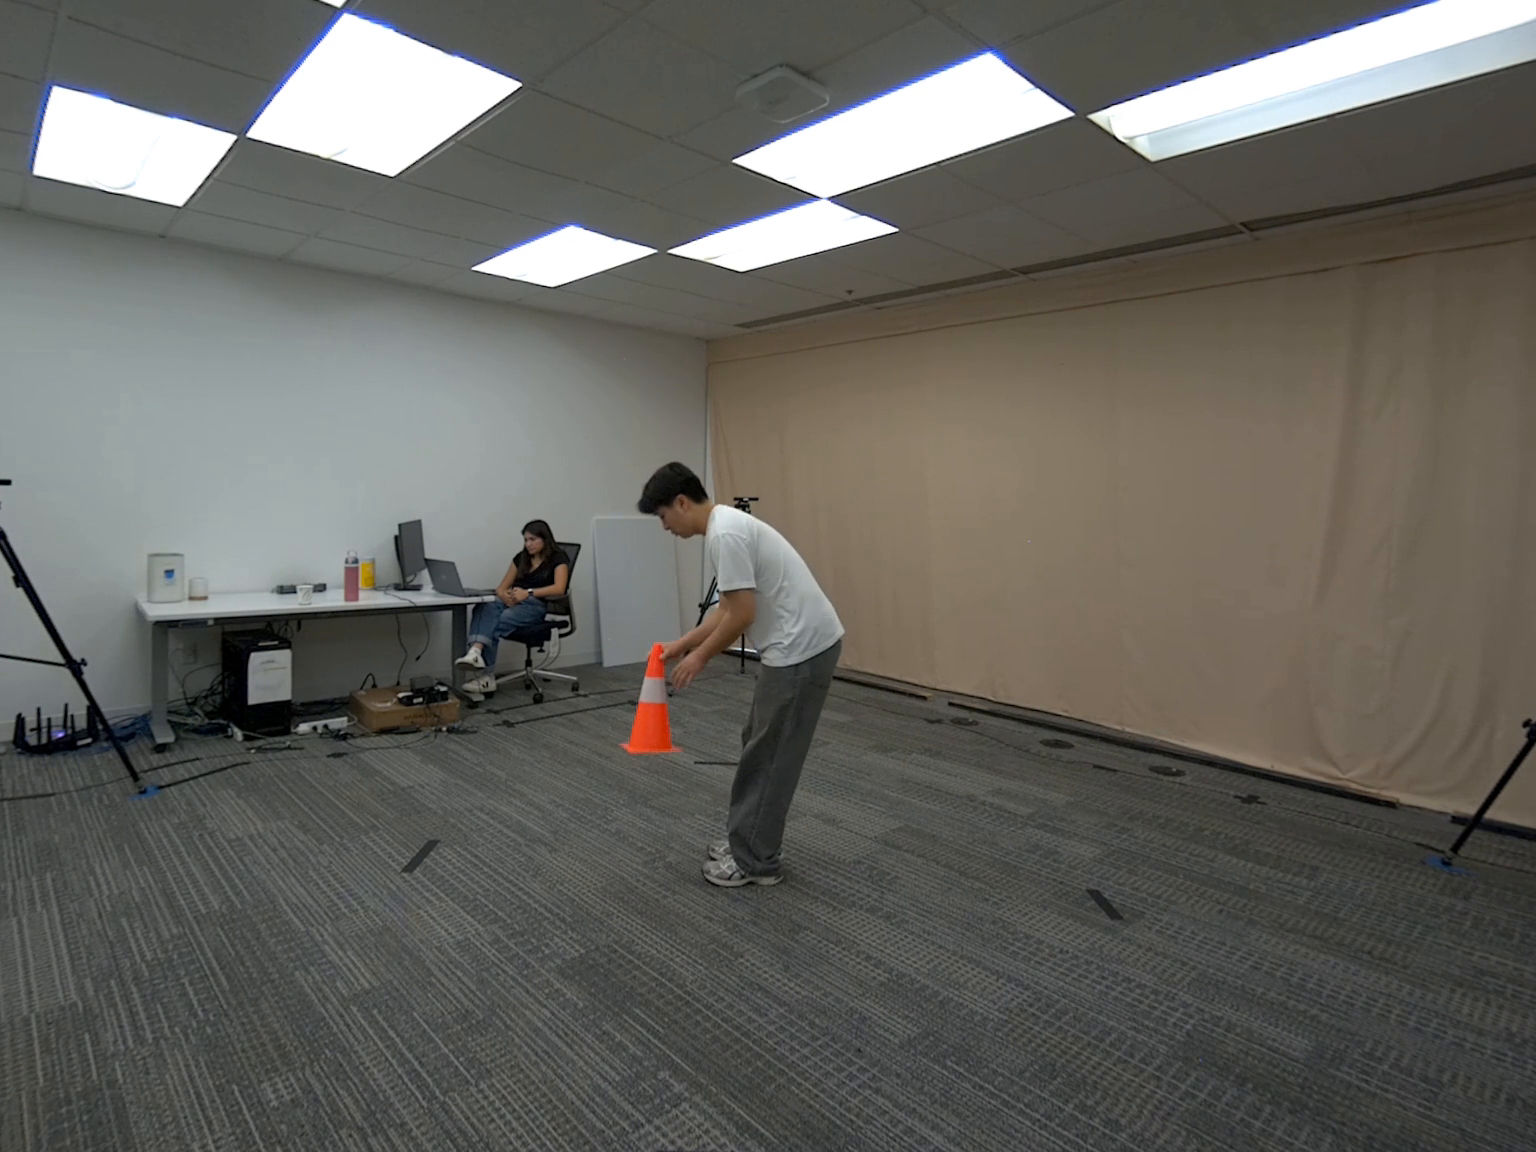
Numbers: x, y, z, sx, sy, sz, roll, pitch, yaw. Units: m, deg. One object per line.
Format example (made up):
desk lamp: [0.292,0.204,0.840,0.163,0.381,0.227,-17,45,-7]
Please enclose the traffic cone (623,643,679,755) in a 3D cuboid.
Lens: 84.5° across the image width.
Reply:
traffic cone: [-0.416,0.448,3.112,0.201,0.385,0.207,6,-4,-26]
